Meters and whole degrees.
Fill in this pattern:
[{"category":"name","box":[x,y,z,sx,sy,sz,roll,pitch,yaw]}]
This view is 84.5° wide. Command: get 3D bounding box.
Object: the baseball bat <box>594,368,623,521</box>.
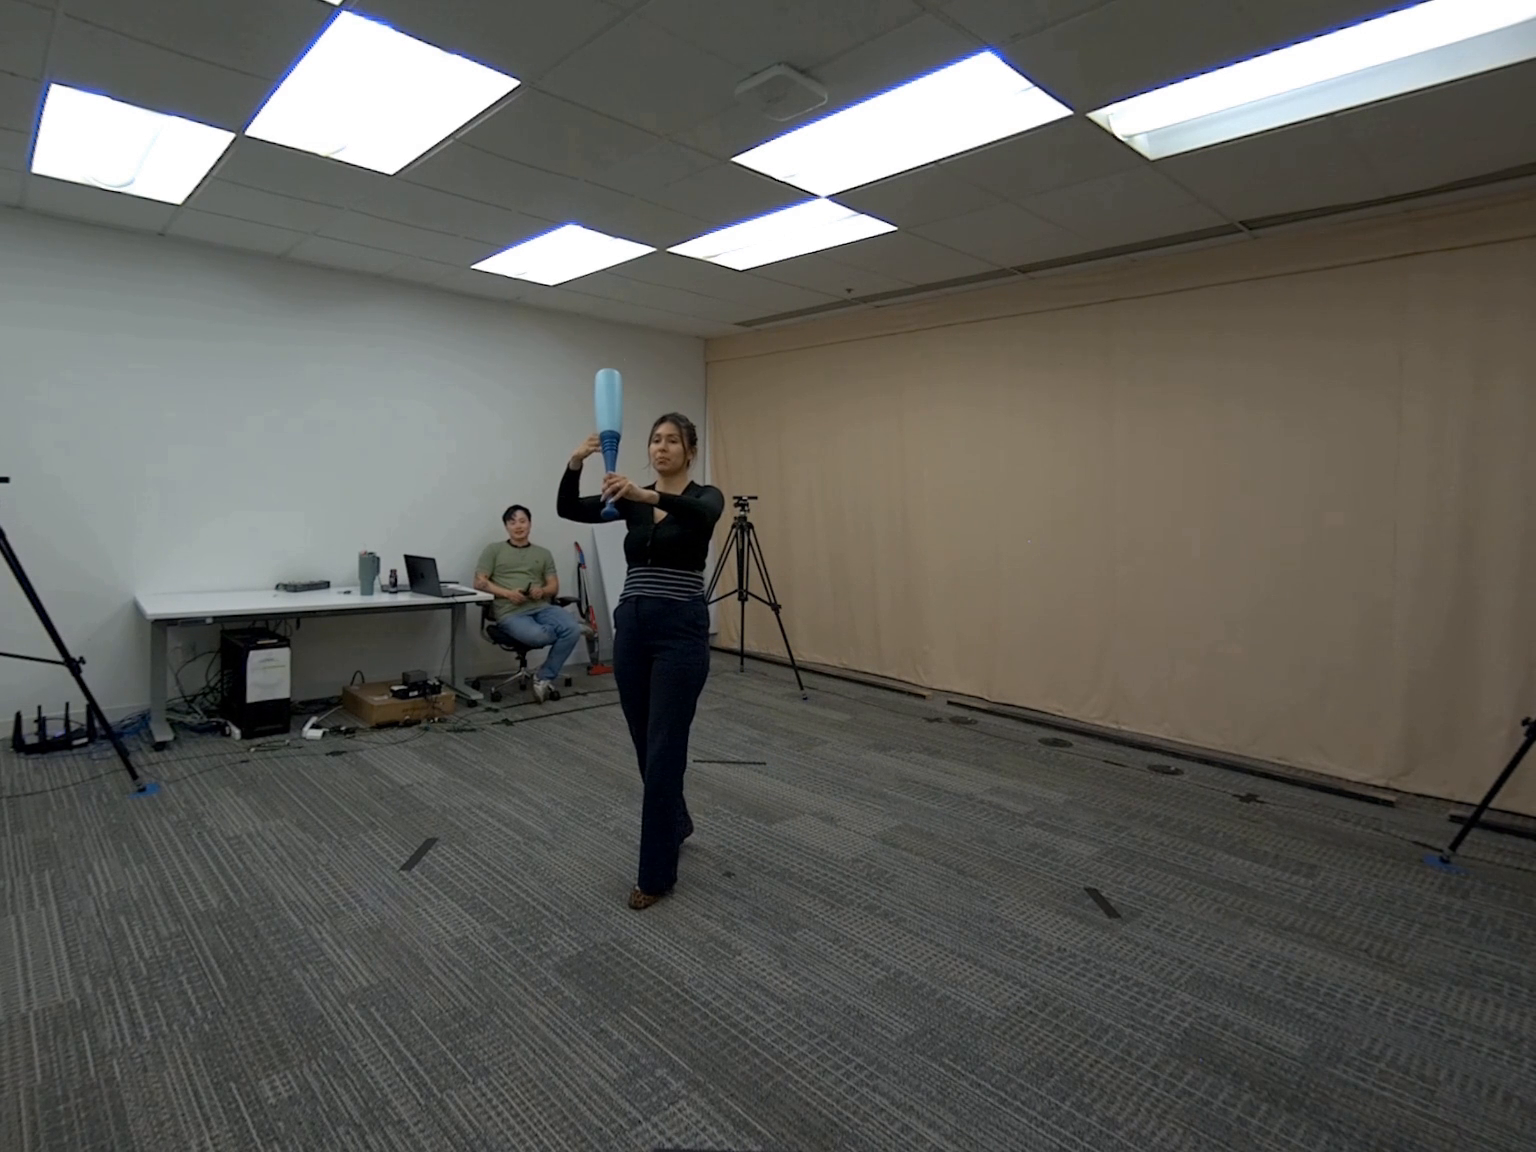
[{"category":"baseball bat","box":[-0.496,-0.411,2.578,0.089,0.554,0.087,-3,-29,-3]}]
